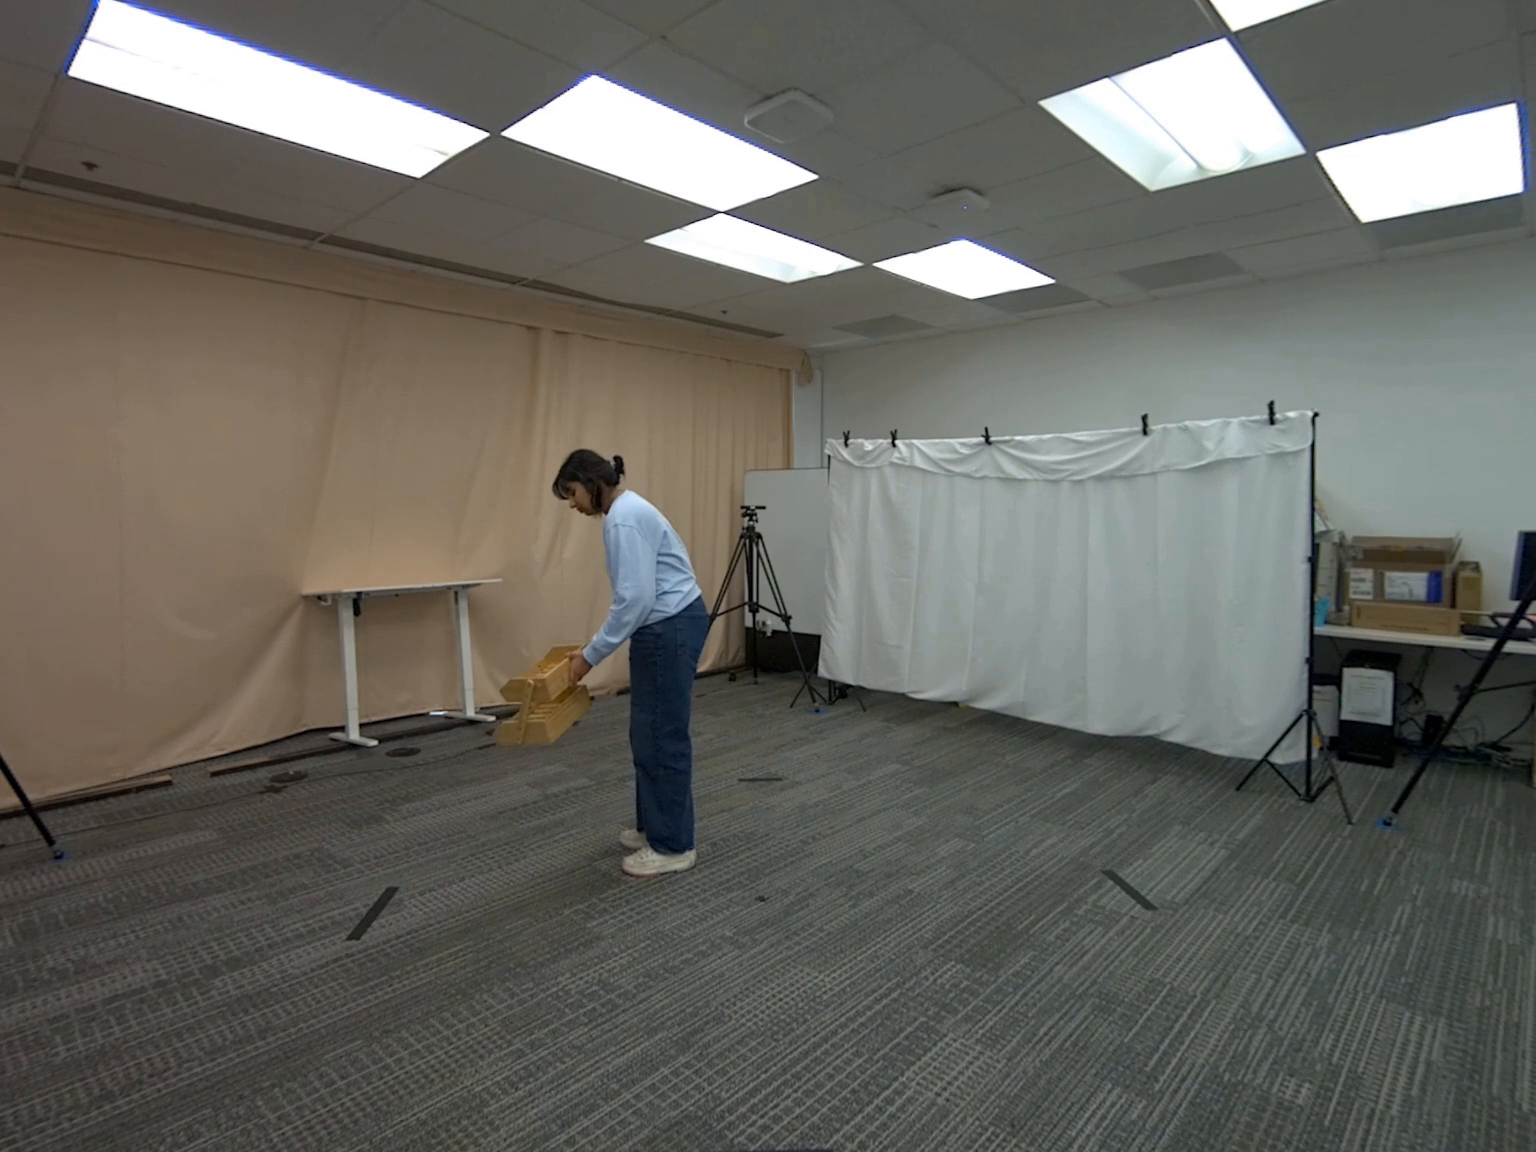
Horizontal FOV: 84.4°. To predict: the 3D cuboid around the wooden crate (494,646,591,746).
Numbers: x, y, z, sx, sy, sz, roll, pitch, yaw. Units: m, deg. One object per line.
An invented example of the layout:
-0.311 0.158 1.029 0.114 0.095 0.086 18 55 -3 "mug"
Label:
-0.854 0.442 3.158 0.307 0.270 0.322 -7 15 18 "wooden crate"
